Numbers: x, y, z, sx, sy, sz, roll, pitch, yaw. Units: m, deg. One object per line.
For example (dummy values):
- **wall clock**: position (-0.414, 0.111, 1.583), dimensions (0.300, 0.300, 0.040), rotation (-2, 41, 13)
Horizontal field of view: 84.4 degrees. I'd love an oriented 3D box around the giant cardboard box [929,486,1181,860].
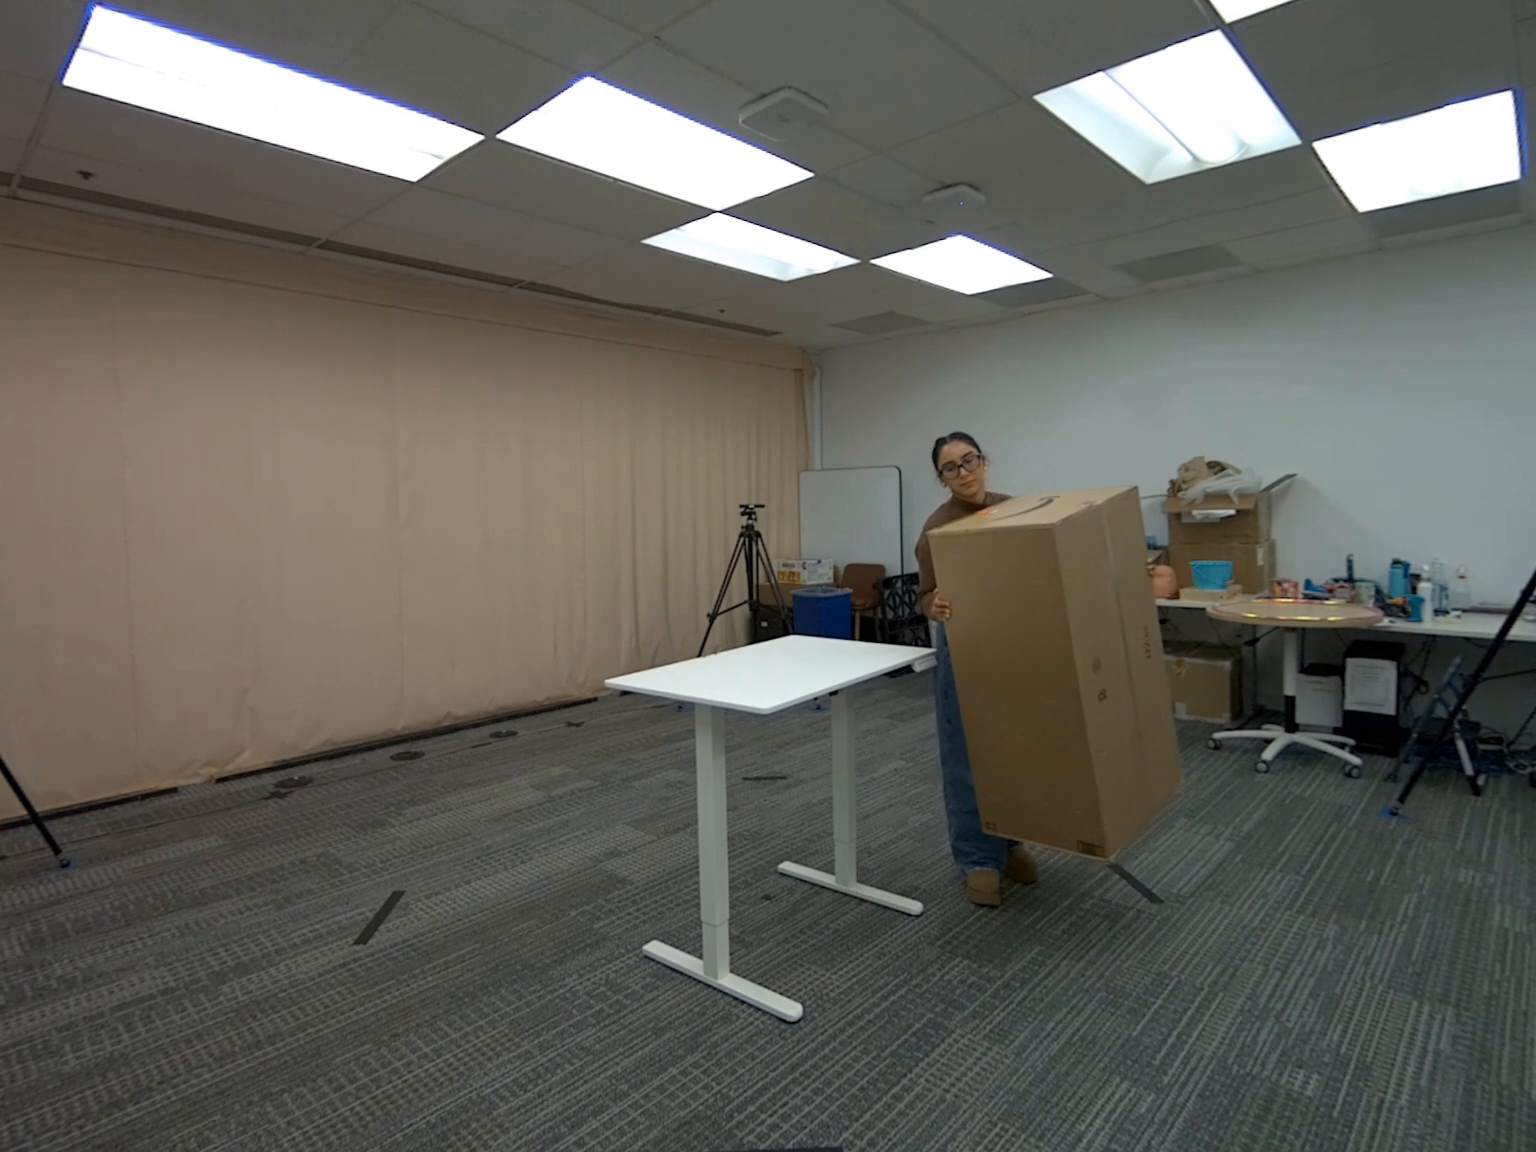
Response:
- **giant cardboard box**: position (0.948, 0.283, 2.730), dimensions (0.563, 1.020, 0.439), rotation (-18, 9, -40)
